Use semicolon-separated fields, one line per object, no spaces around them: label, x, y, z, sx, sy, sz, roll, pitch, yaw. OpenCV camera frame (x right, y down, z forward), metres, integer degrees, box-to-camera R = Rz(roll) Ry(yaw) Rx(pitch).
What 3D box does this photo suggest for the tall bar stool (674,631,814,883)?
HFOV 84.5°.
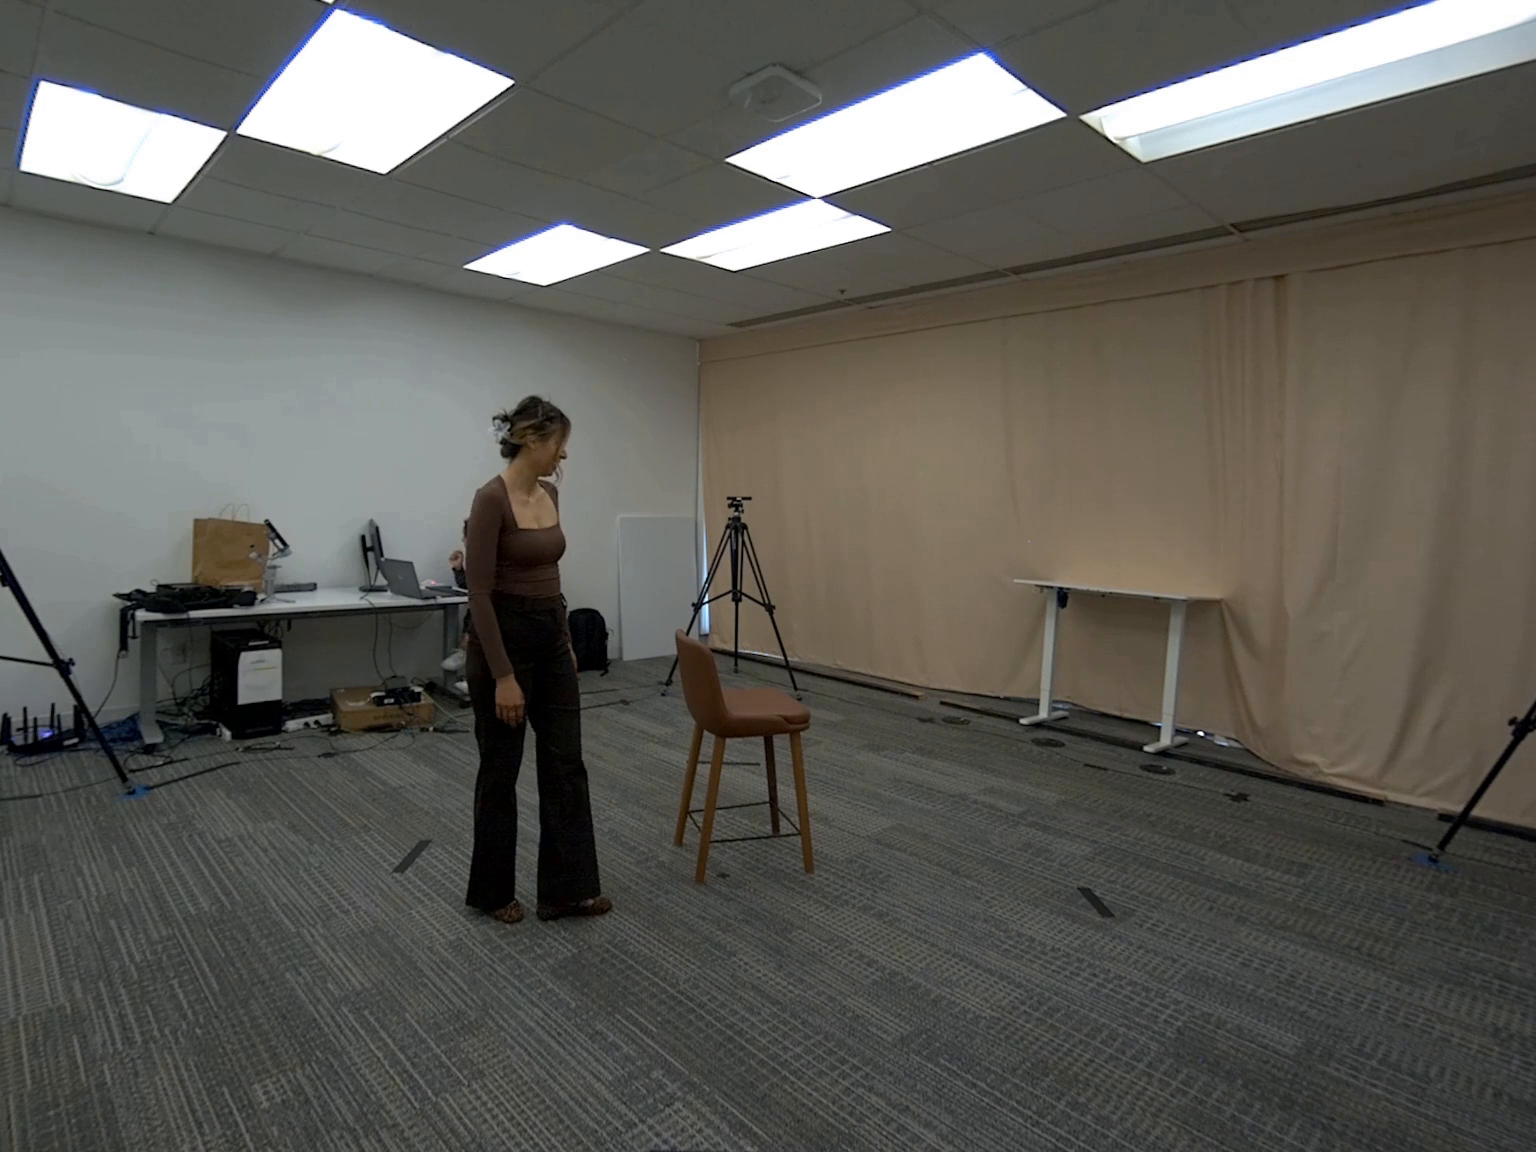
tall bar stool;-0.104;0.660;3.247;0.461;0.887;0.464;-1;4;-18
